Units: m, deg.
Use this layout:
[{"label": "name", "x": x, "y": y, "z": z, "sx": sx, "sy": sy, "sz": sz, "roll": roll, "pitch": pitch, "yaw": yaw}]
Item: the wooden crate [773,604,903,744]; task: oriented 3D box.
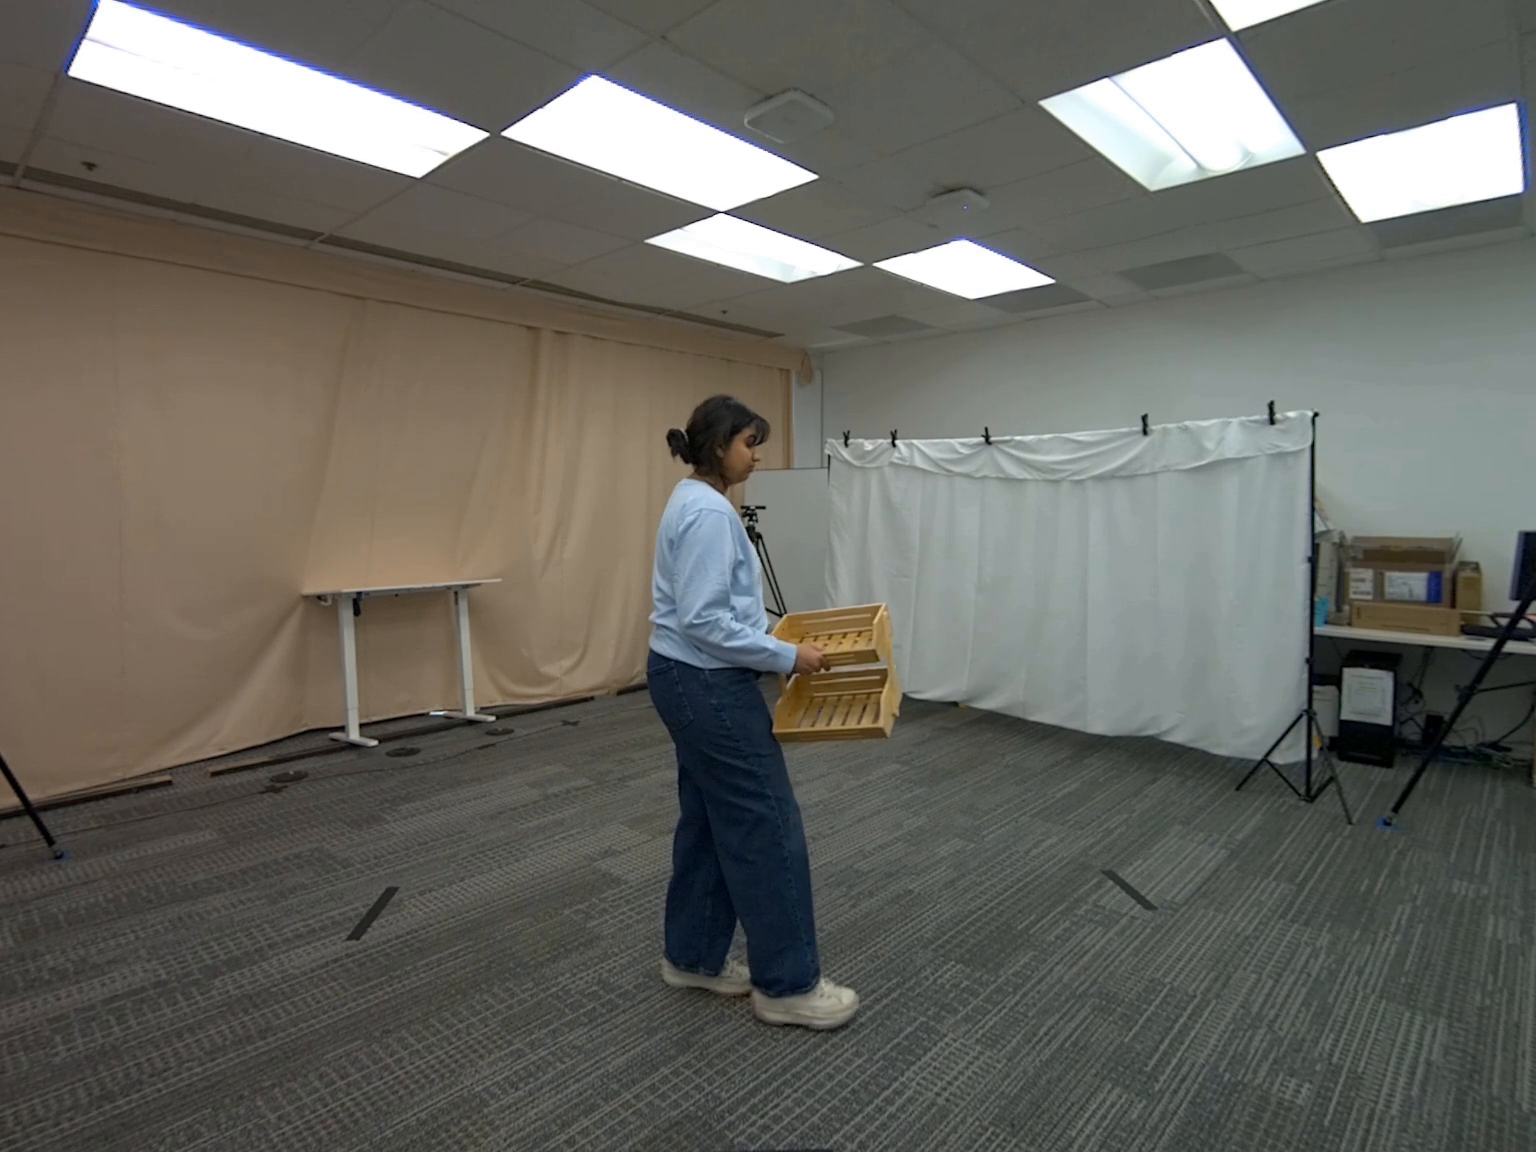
[{"label": "wooden crate", "x": 0.188, "y": 0.265, "z": 2.273, "sx": 0.331, "sy": 0.270, "sz": 0.300, "roll": -8, "pitch": 16, "yaw": 21}]
